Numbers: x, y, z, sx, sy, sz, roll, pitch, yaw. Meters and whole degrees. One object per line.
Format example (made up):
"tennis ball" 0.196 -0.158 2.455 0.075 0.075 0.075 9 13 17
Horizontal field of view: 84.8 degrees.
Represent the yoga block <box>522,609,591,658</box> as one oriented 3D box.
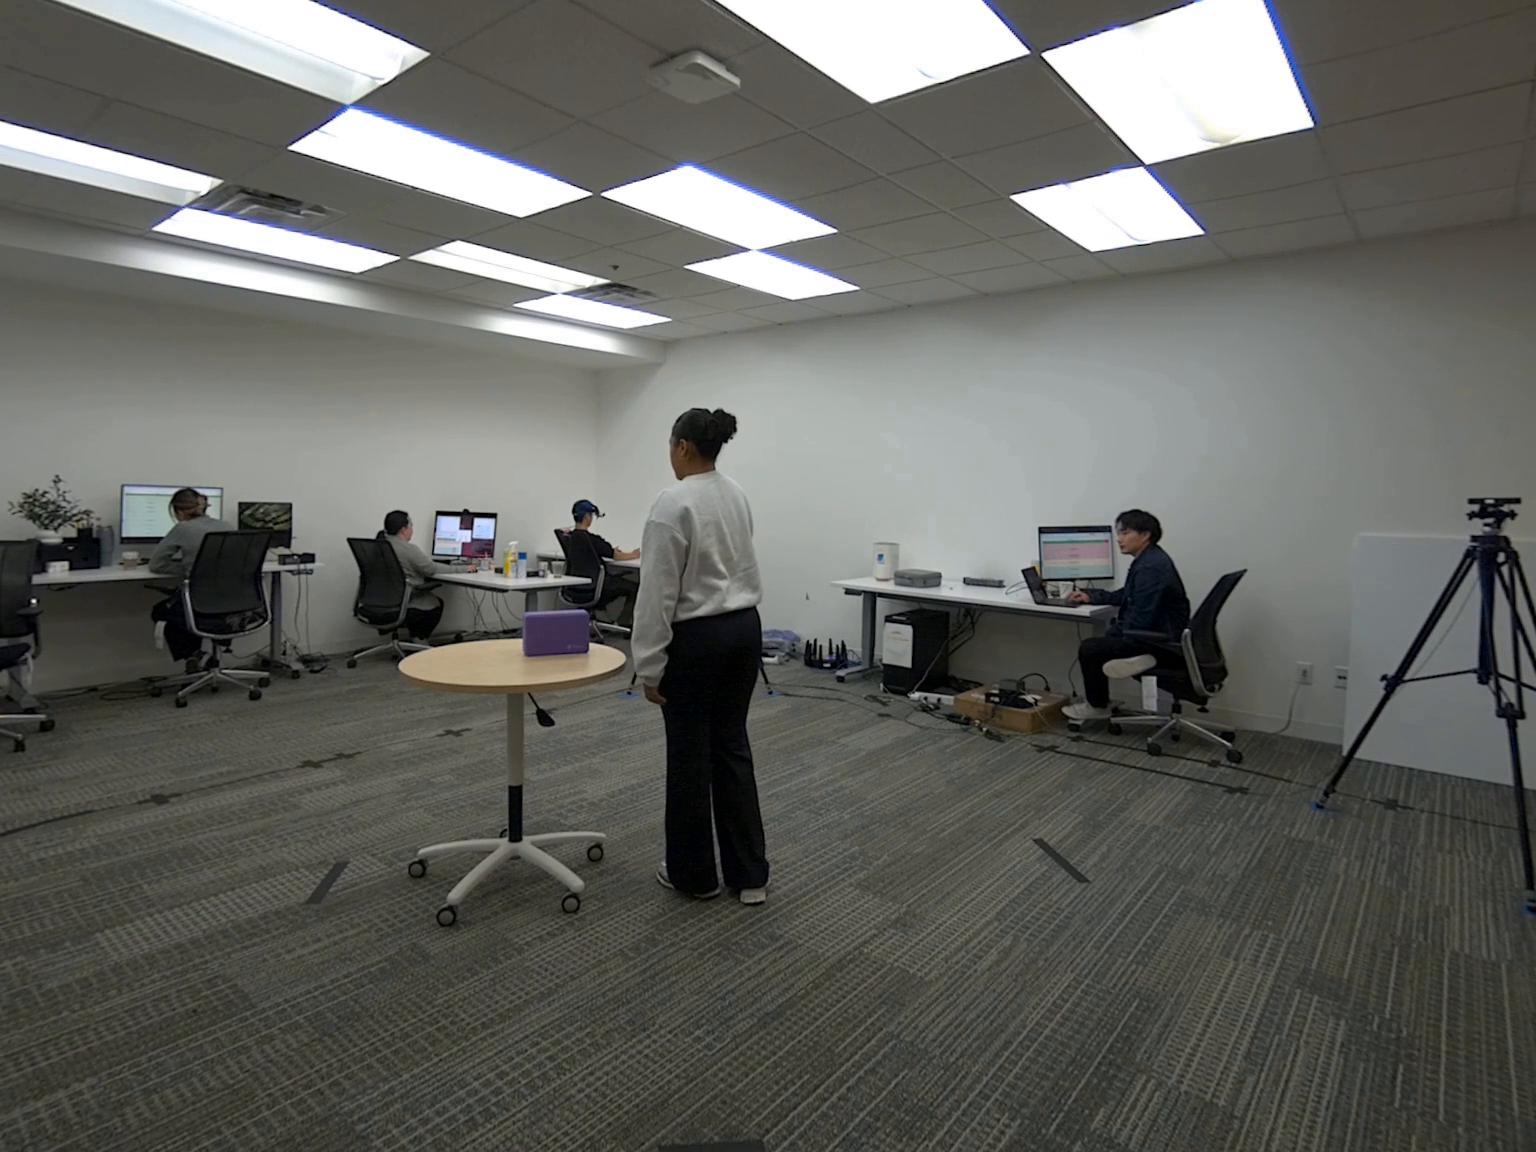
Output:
"yoga block" -0.779 0.204 3.068 0.225 0.148 0.078 -1 4 -18
